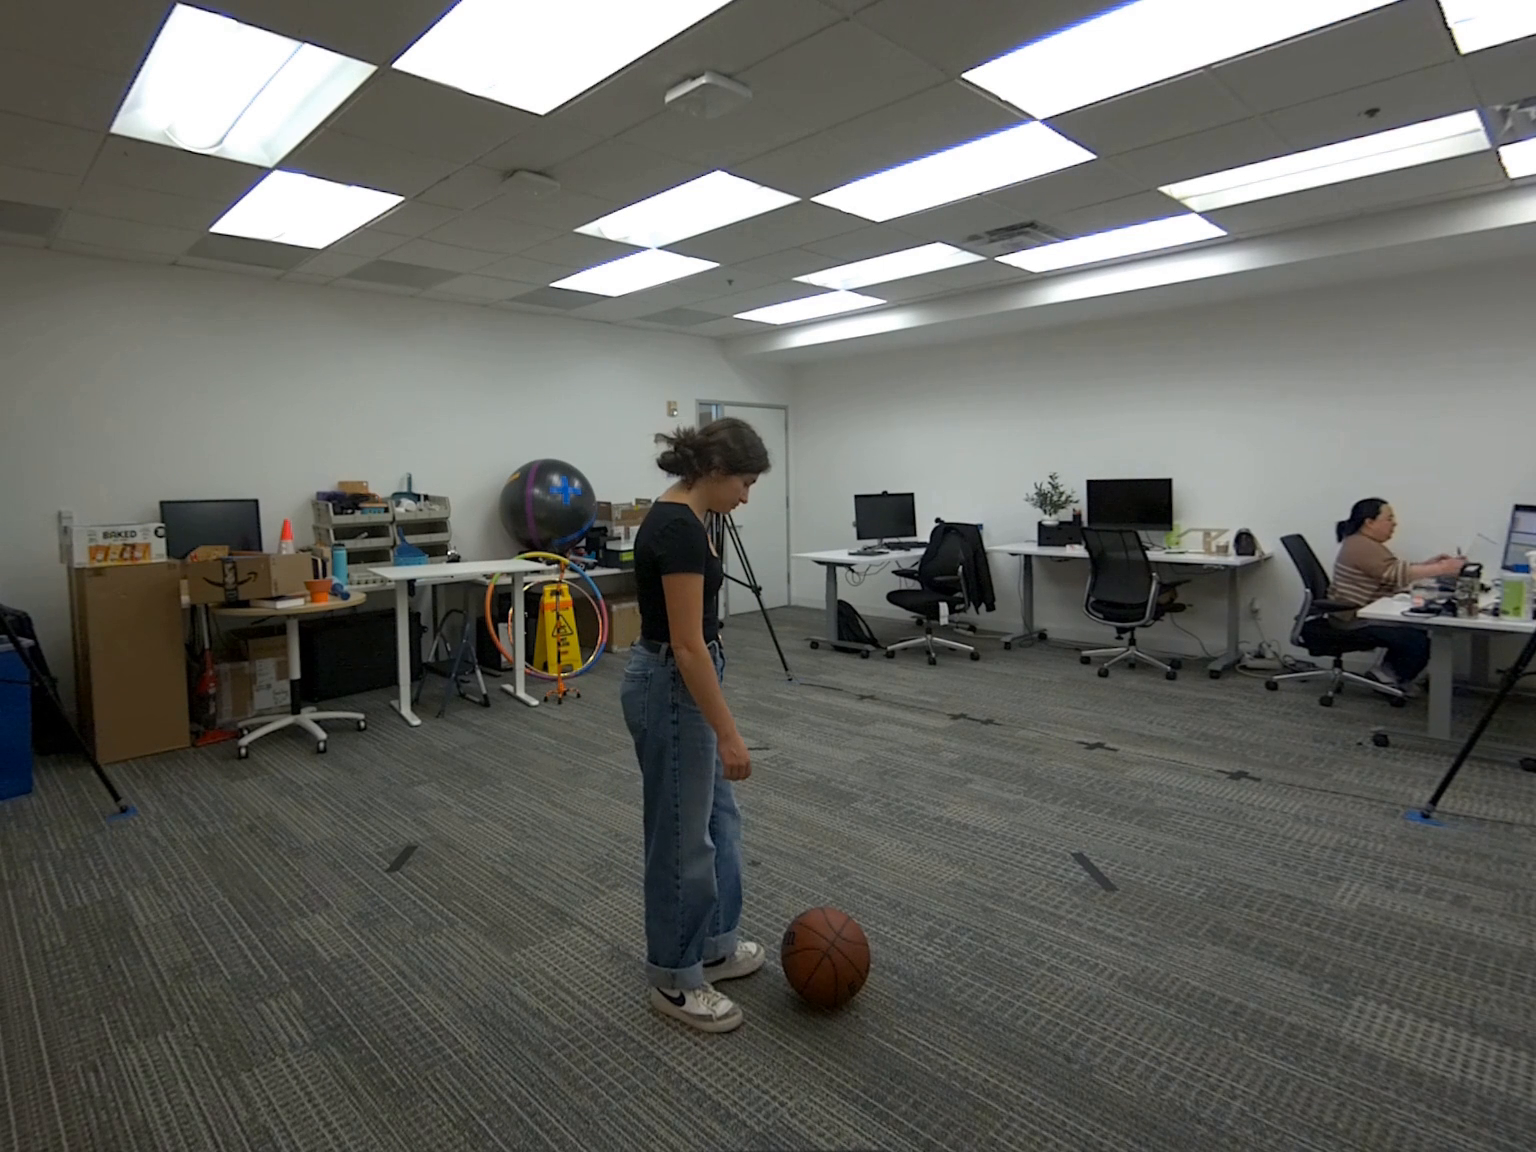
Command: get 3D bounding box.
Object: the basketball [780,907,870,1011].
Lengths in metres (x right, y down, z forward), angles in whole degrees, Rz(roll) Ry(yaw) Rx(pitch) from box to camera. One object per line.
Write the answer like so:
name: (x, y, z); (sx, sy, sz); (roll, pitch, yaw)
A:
basketball: (0.154, 1.012, 2.286); (0.236, 0.235, 0.237); (-1, 5, -2)
